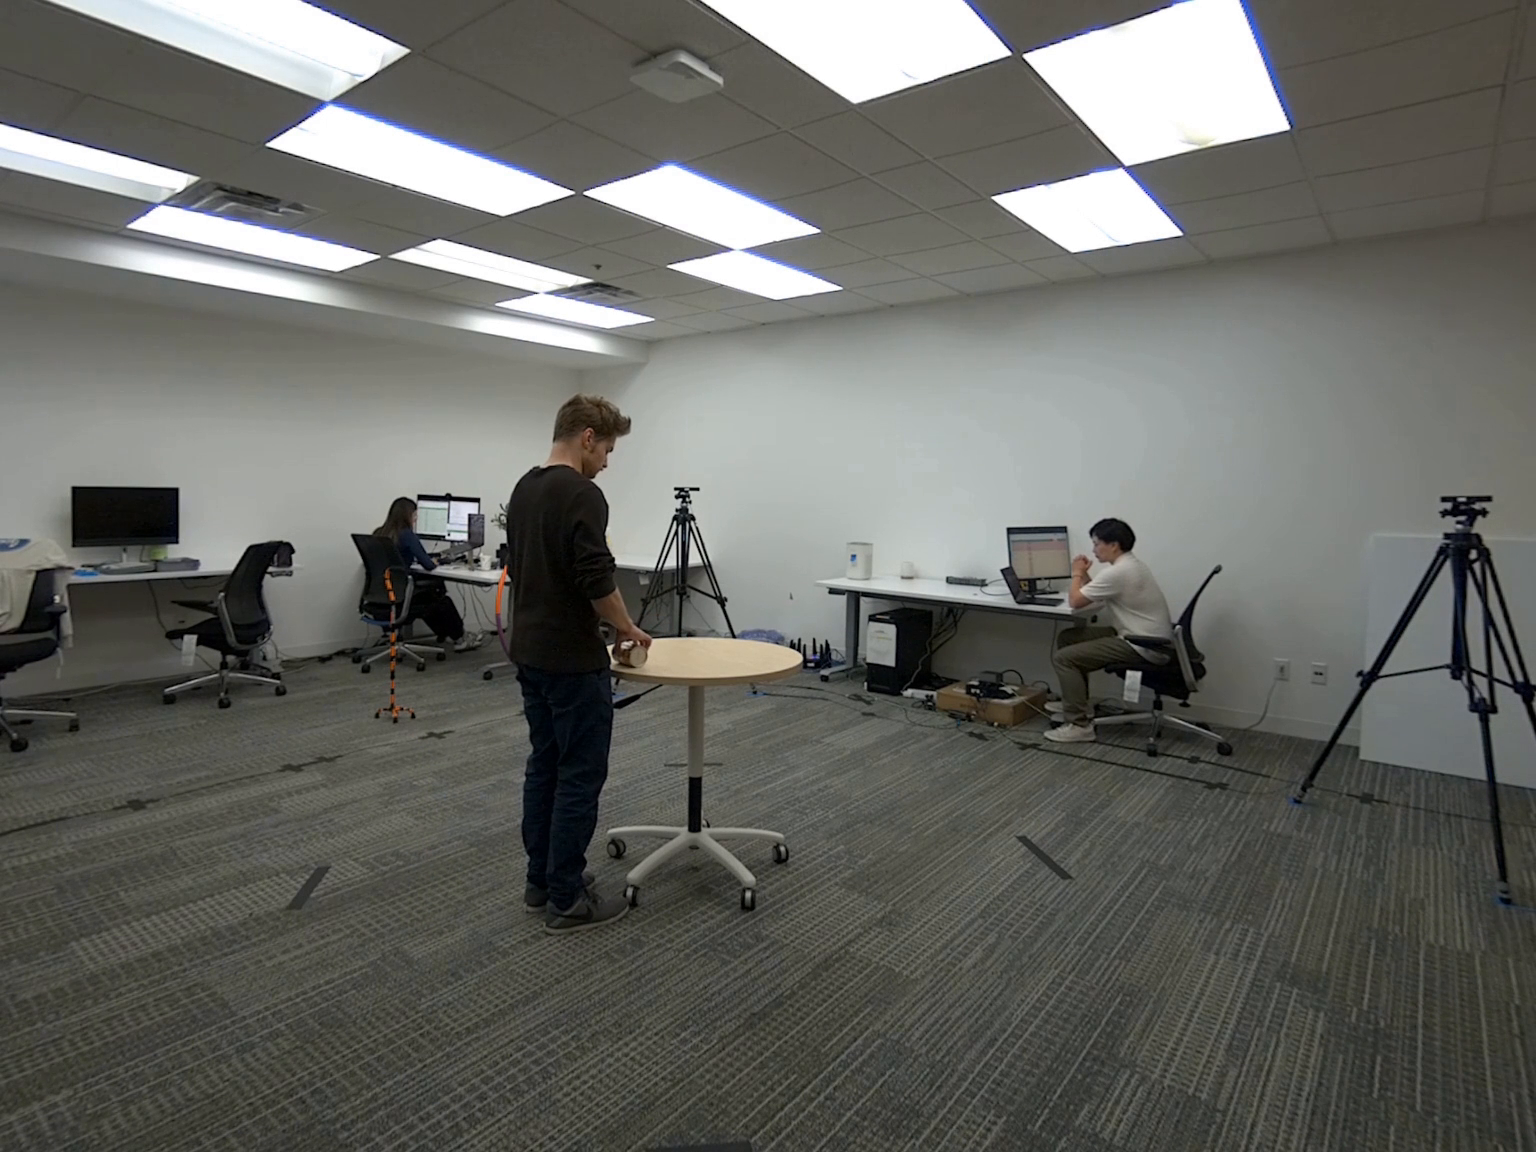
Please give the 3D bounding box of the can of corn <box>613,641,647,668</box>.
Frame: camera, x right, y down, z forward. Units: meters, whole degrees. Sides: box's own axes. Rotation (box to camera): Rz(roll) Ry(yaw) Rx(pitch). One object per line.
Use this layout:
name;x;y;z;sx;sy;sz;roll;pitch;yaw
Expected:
can of corn;-0.485;0.264;2.883;0.073;0.074;0.114;-1;6;-20
